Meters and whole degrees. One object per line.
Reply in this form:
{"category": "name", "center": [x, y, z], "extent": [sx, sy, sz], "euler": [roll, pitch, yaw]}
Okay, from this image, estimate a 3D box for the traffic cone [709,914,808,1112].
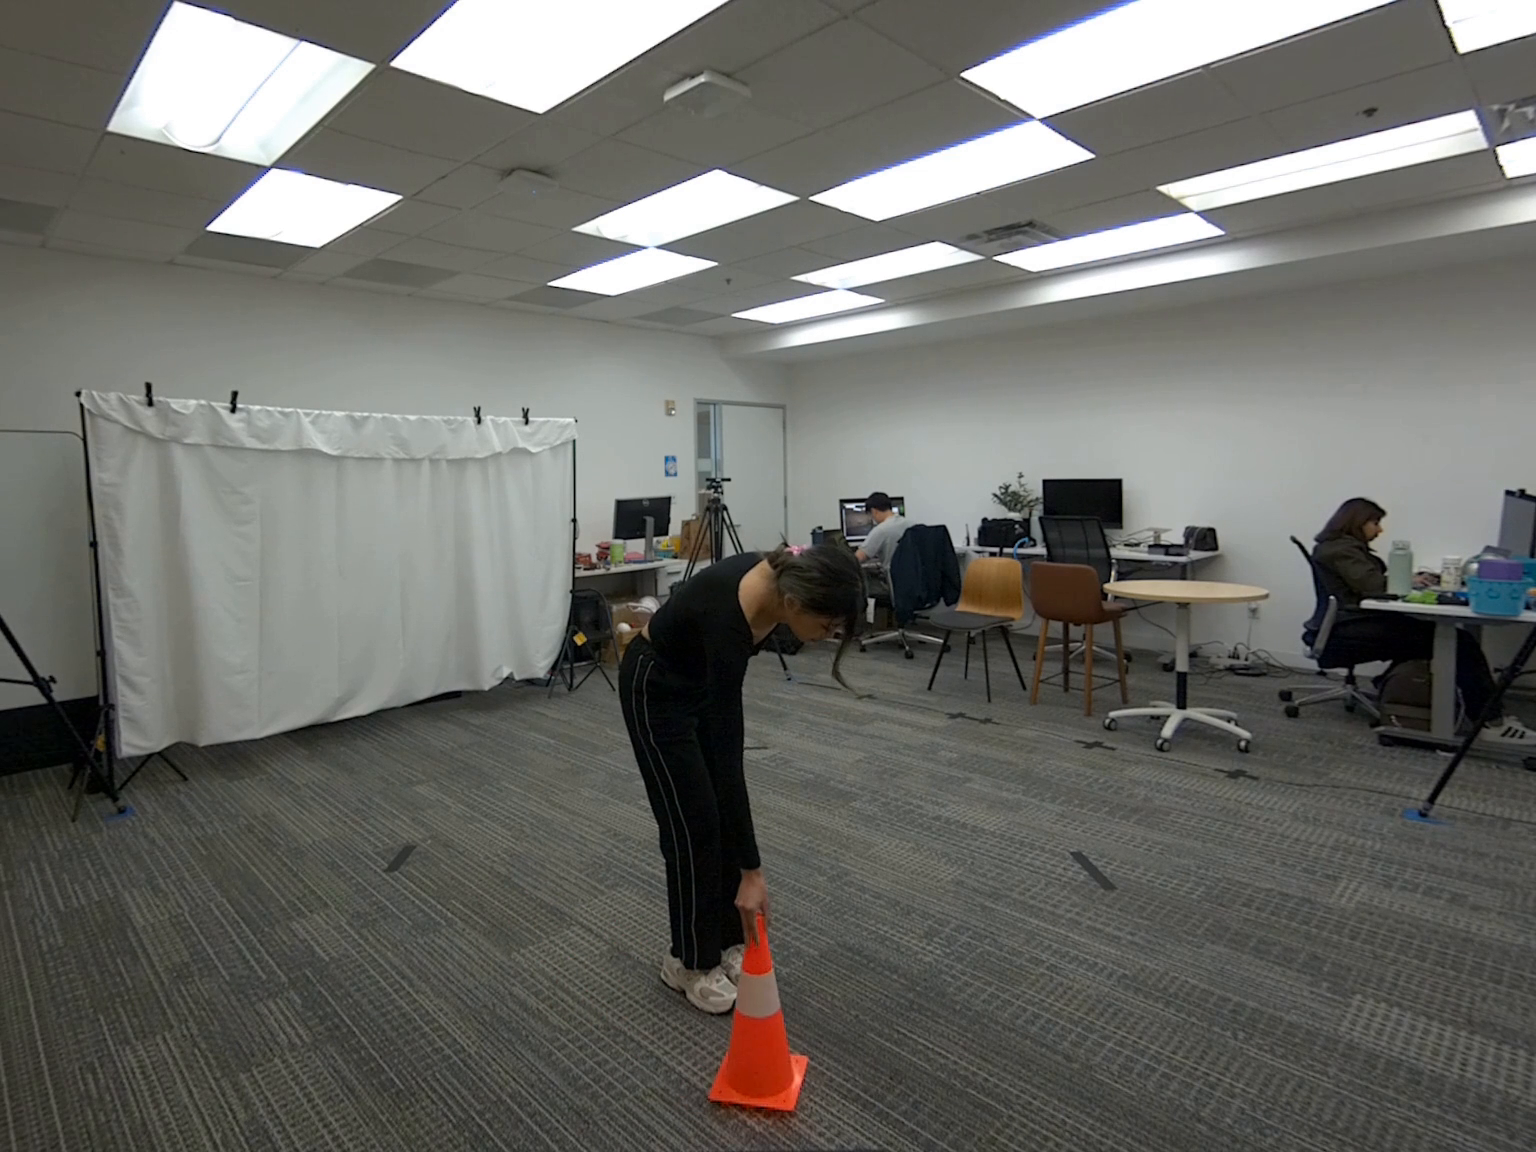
{"category": "traffic cone", "center": [-0.026, 0.979, 1.978], "extent": [0.206, 0.384, 0.202], "euler": [-3, 0, 13]}
